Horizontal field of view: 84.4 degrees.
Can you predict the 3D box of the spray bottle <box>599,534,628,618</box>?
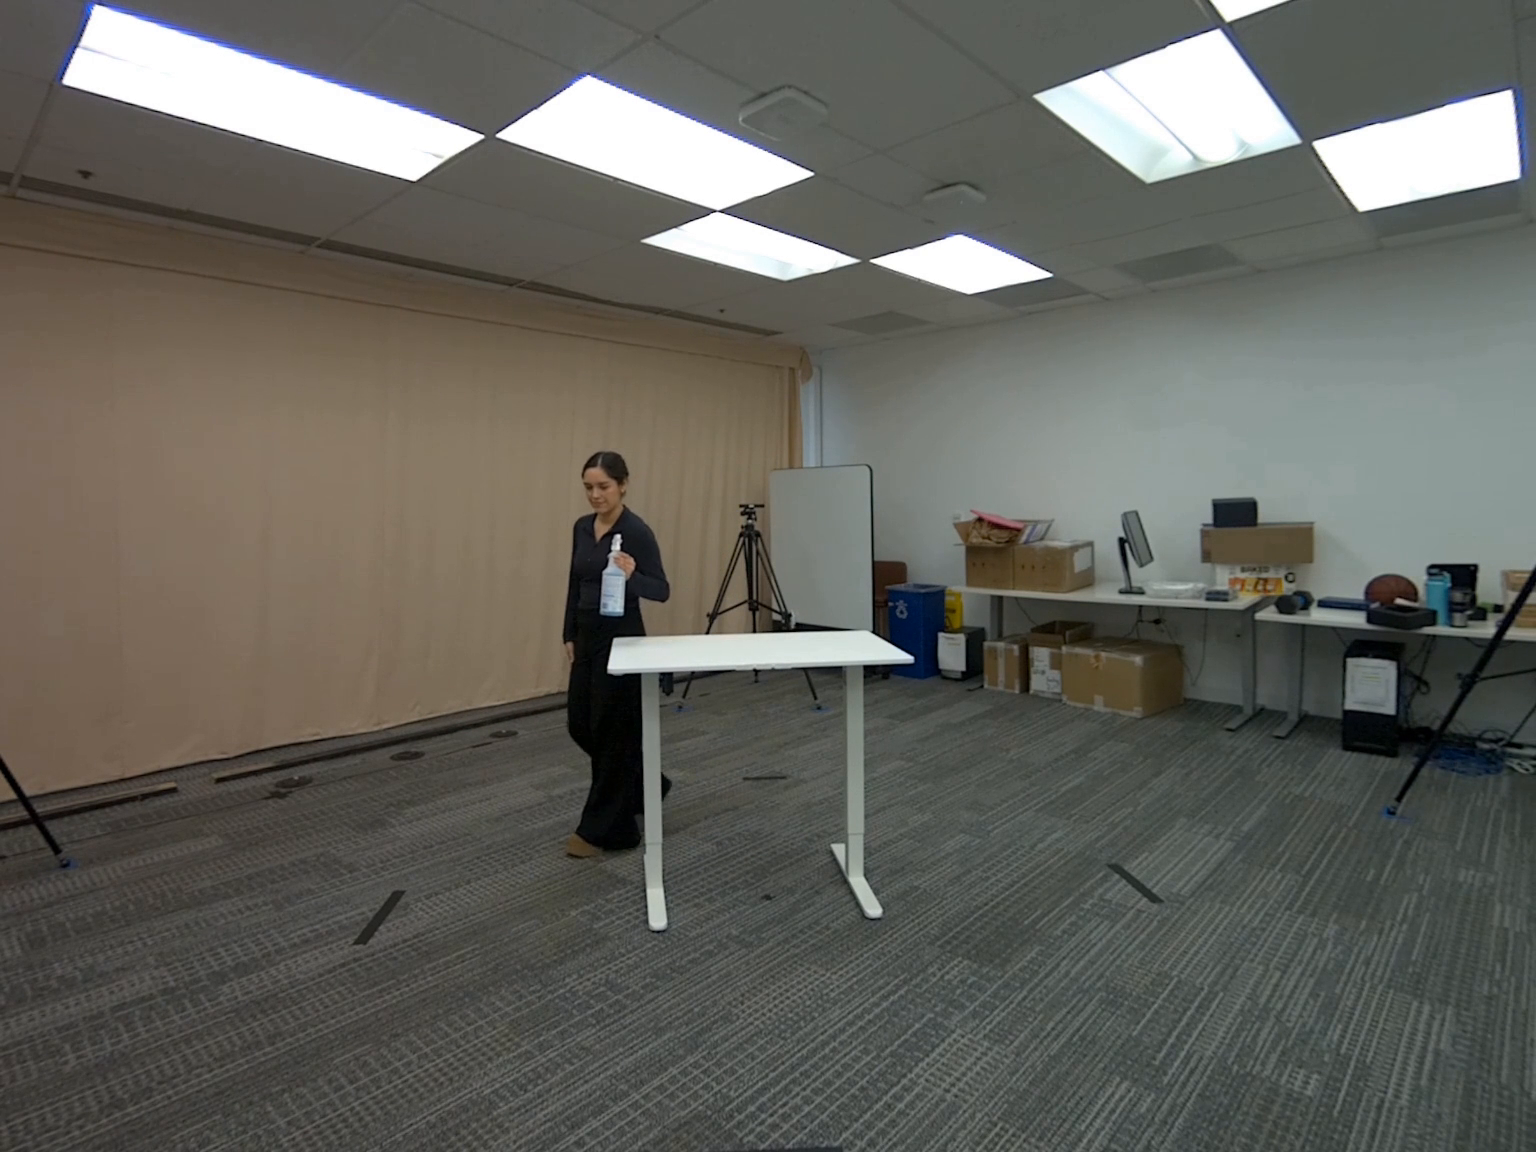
[{"bbox_3d":[-0.563,0.002,3.107,0.088,0.297,0.089,2,-1,8],"label":"spray bottle"}]
